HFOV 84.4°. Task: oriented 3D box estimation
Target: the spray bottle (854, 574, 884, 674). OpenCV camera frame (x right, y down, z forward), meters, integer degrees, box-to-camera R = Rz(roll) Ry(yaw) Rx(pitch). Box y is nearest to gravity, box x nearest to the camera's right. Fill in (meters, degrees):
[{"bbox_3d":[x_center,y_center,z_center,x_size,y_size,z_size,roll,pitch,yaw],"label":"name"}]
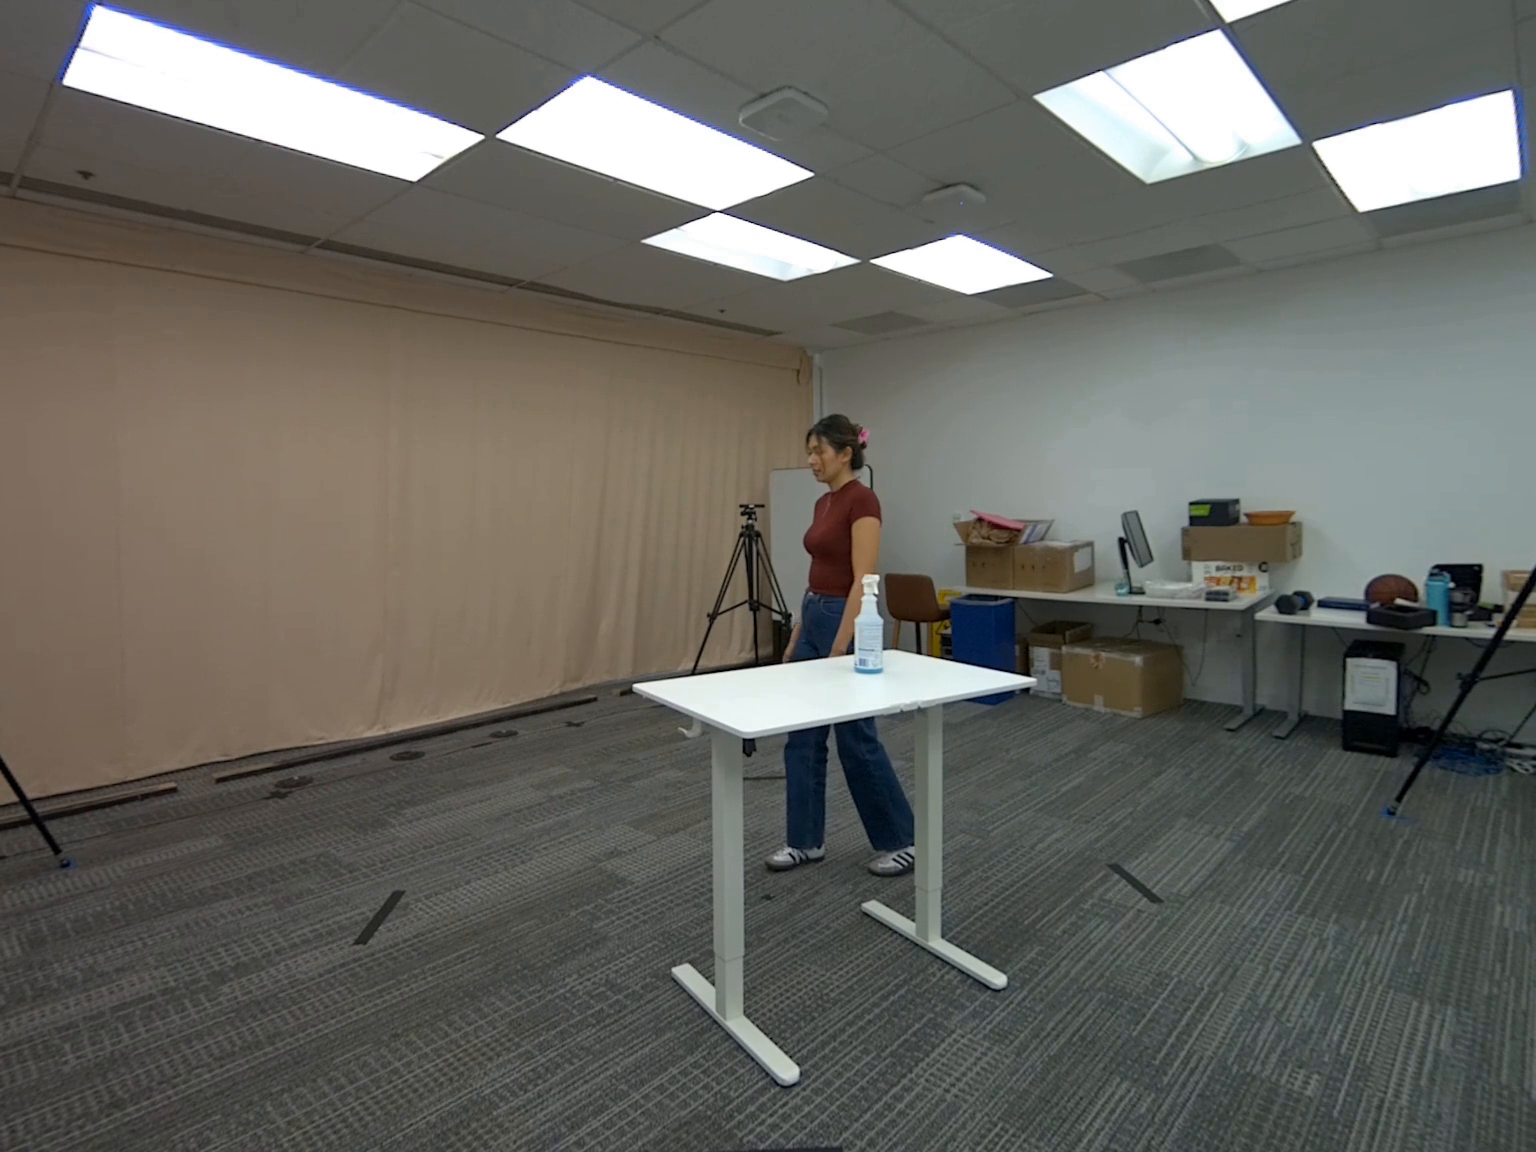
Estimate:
[{"bbox_3d":[0.311,0.145,2.544,0.087,0.296,0.090,0,4,5],"label":"spray bottle"}]
